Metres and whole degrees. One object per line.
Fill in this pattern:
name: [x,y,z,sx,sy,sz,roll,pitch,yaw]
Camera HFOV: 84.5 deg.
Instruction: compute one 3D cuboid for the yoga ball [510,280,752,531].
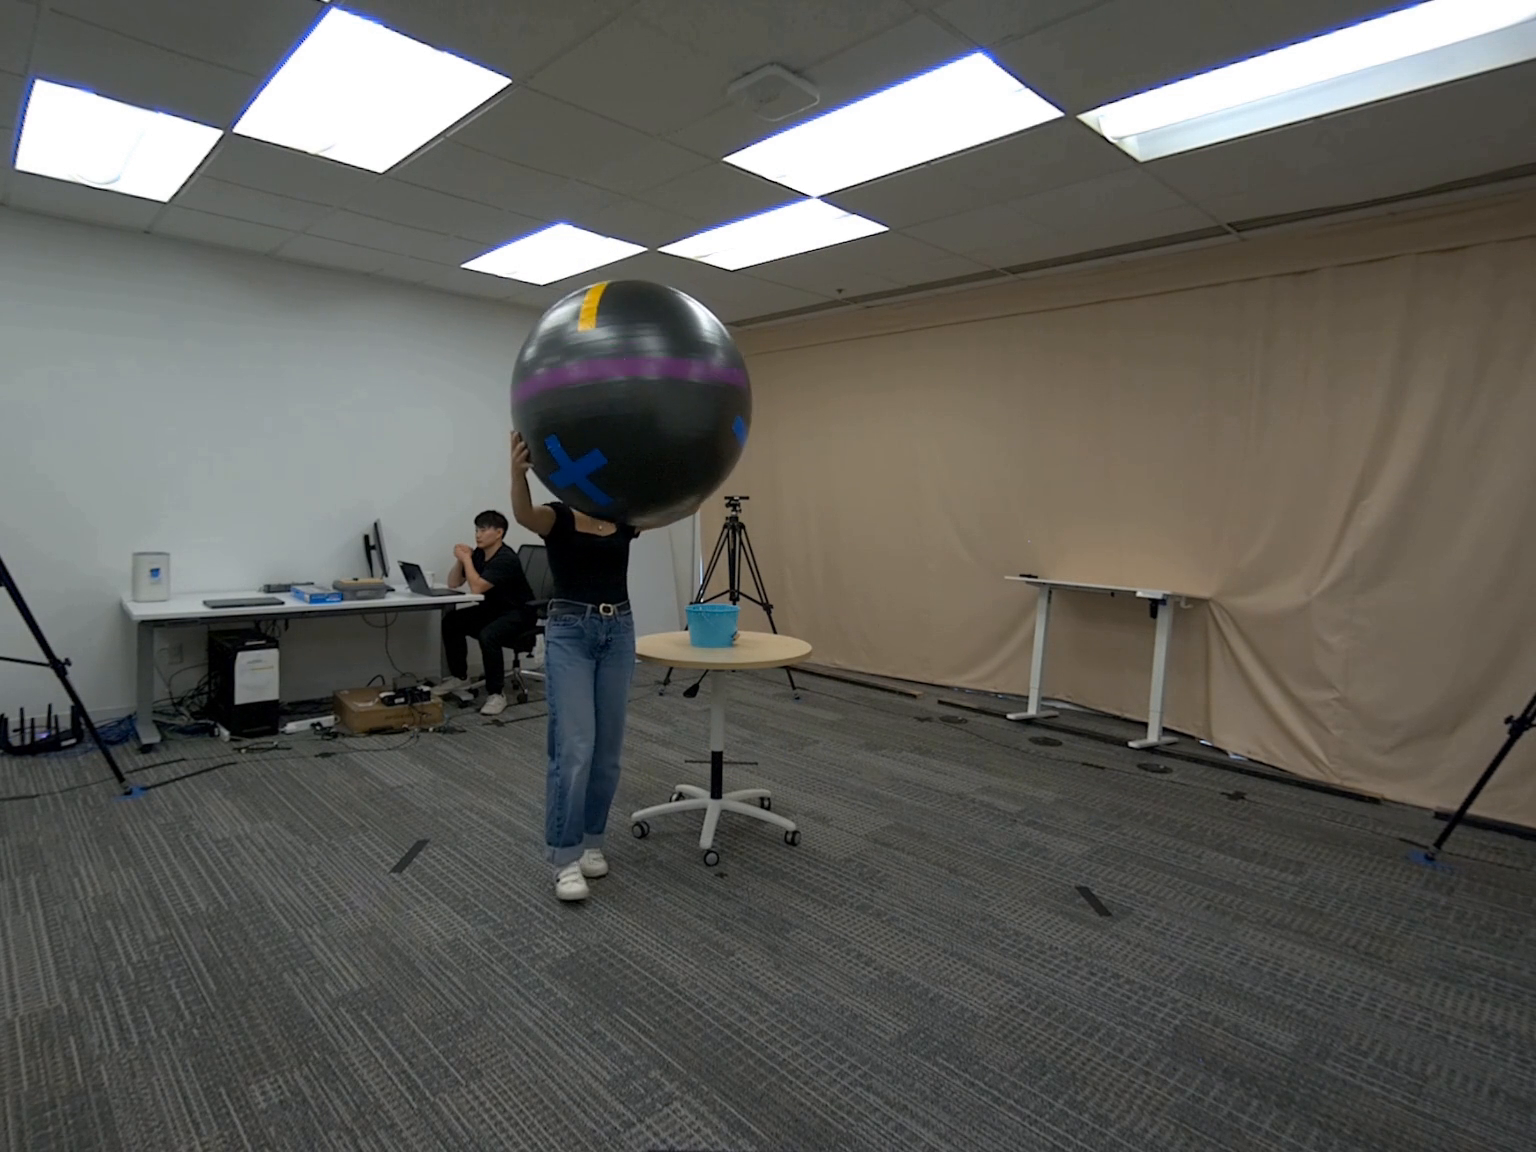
yoga ball: [-0.428,-0.532,2.665,0.757,0.756,0.761,1,4,-1]
